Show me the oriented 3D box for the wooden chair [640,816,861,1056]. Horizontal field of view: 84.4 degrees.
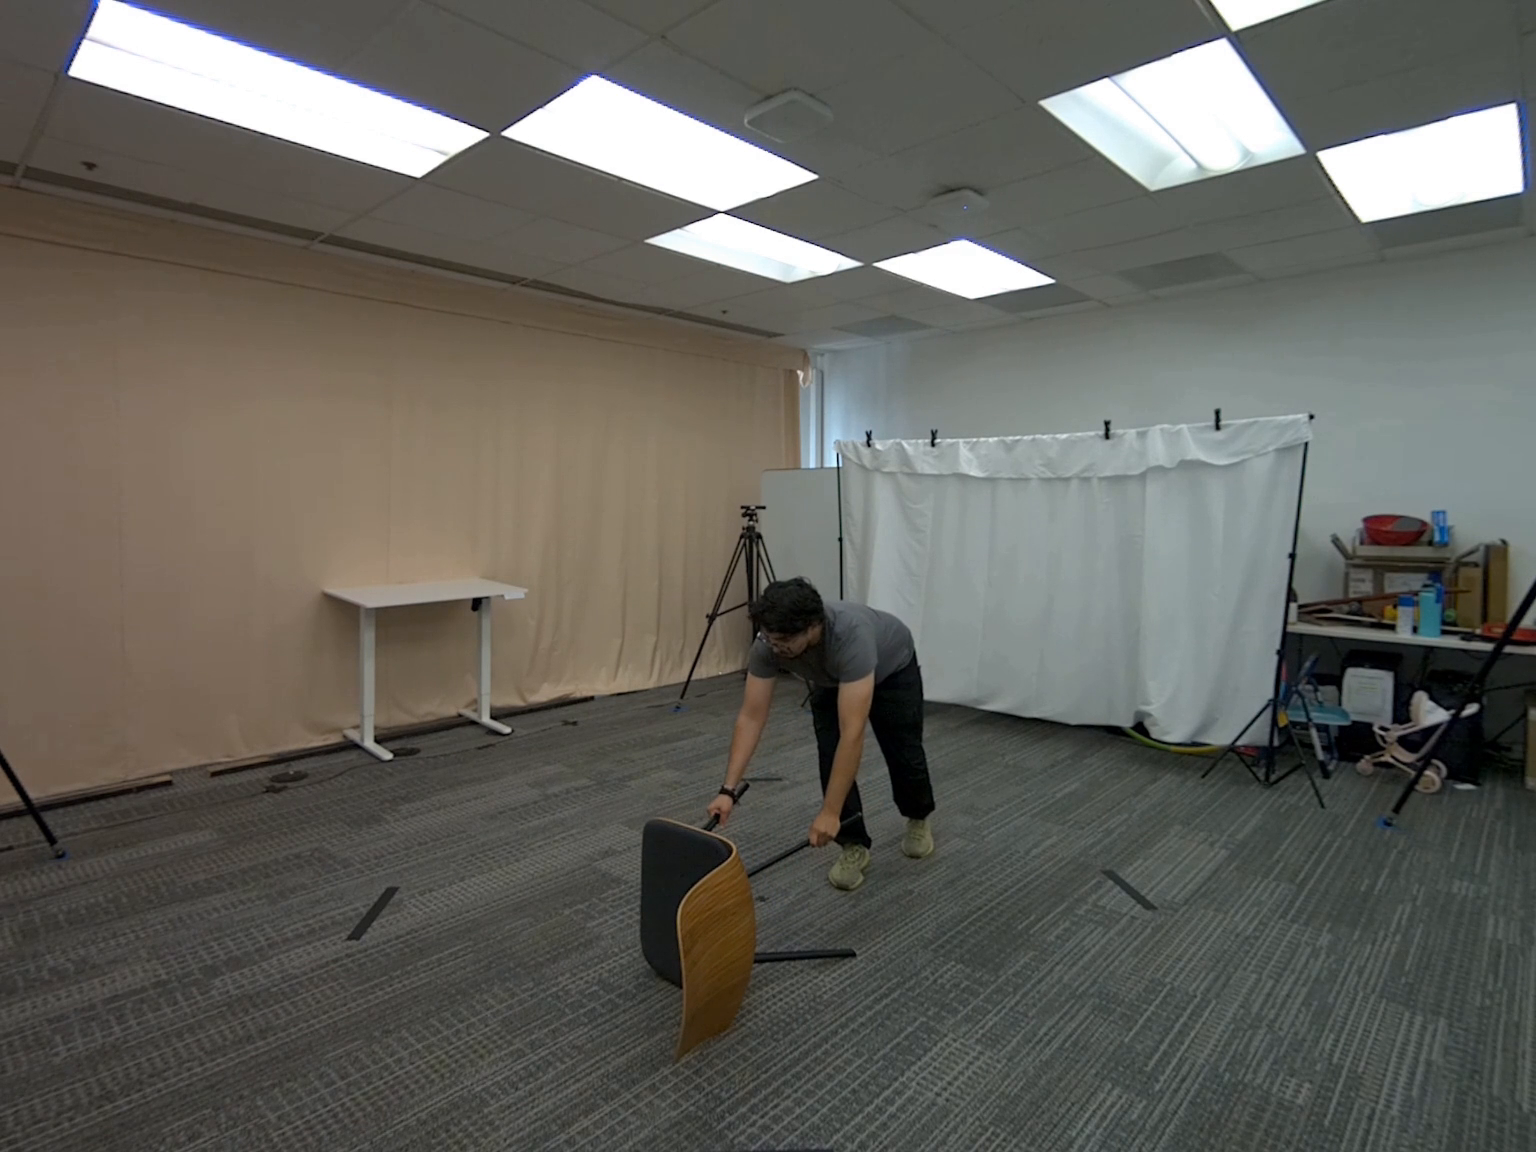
[{"bbox_3d":[-0.166,0.960,2.429,0.539,0.477,0.852,3,4,34],"label":"wooden chair"}]
